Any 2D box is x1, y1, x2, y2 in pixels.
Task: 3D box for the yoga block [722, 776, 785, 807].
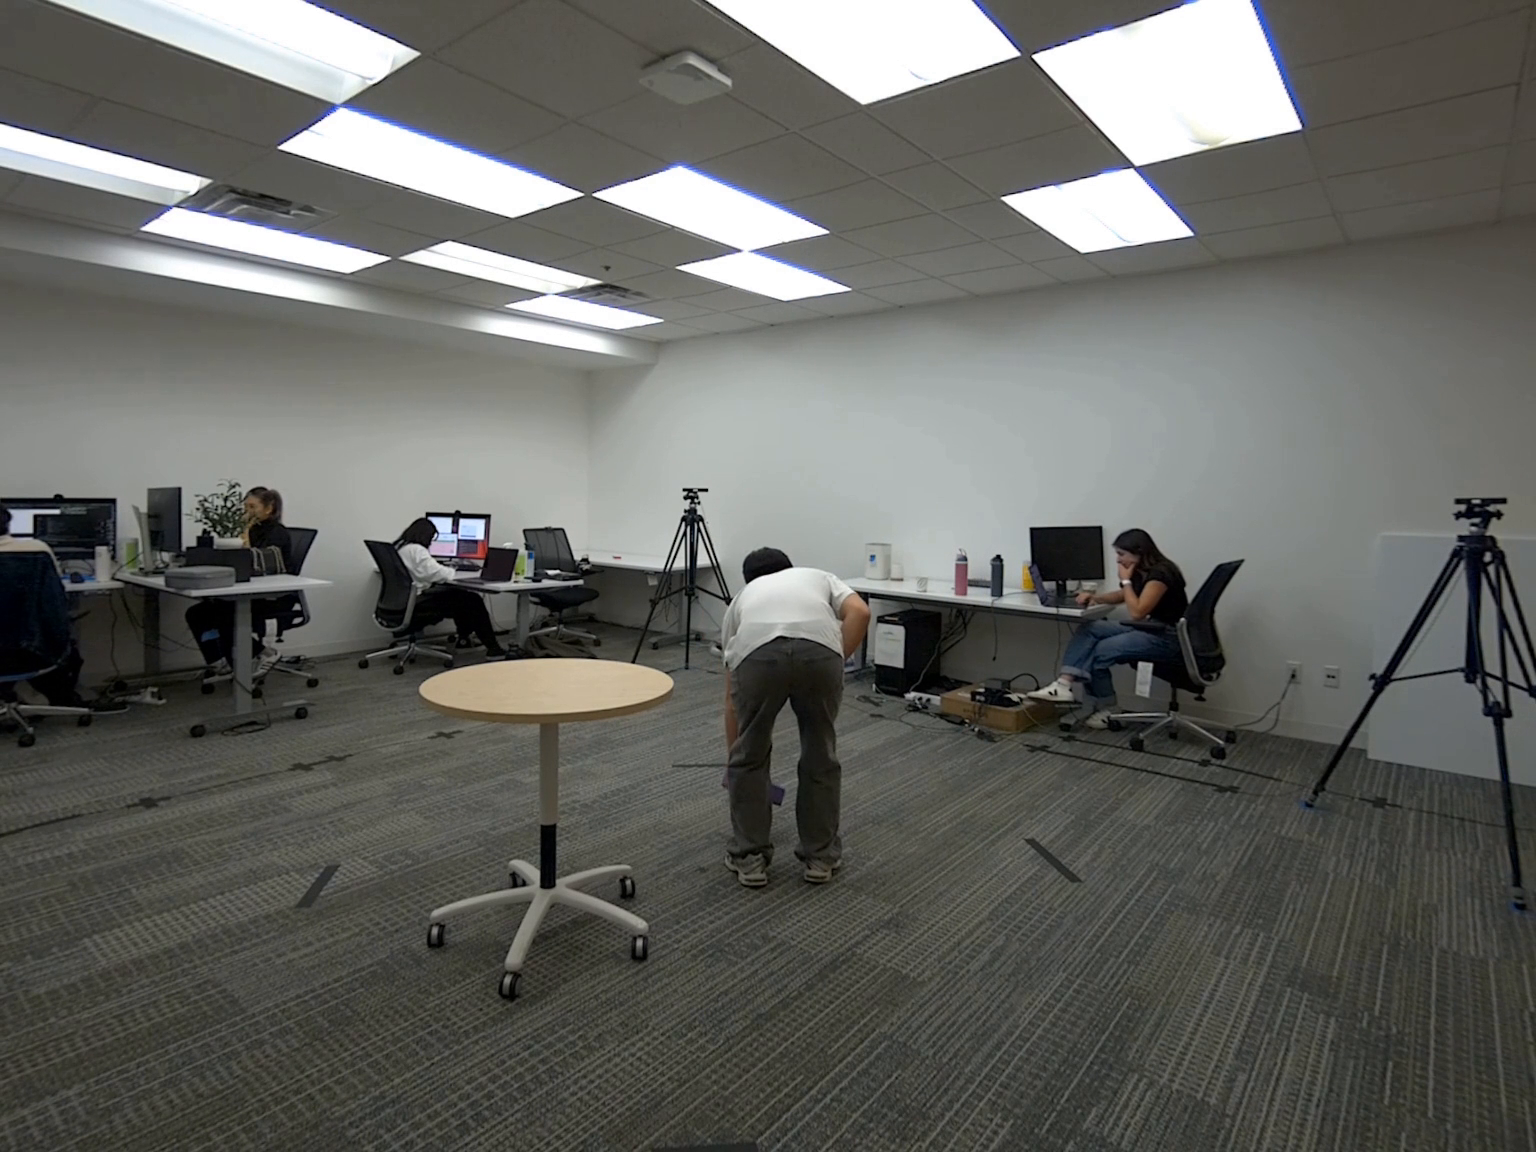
[{"bbox_3d":[-0.041,0.836,3.456,0.154,0.077,0.220,3,-22,45],"label":"yoga block"}]
